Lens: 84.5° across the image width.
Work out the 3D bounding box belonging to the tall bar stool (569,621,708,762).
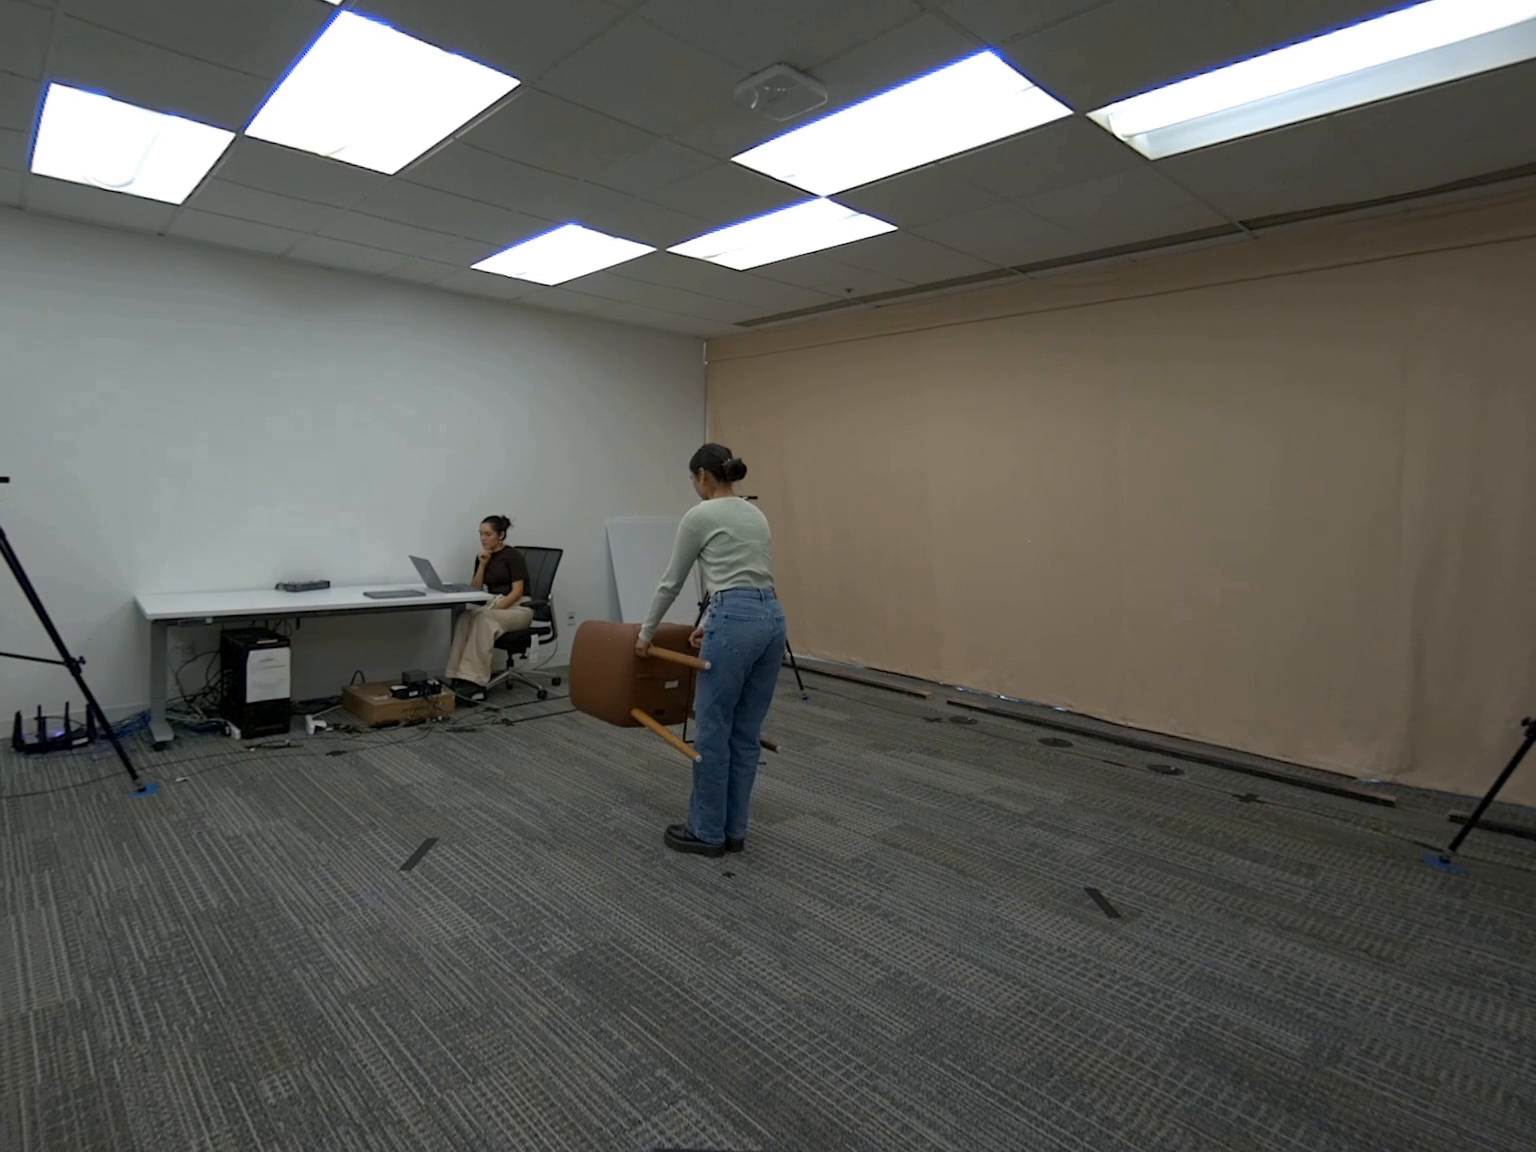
[{"bbox_3d":[-0.402,0.457,3.551,0.456,0.455,0.914,1,6,-45],"label":"tall bar stool"}]
